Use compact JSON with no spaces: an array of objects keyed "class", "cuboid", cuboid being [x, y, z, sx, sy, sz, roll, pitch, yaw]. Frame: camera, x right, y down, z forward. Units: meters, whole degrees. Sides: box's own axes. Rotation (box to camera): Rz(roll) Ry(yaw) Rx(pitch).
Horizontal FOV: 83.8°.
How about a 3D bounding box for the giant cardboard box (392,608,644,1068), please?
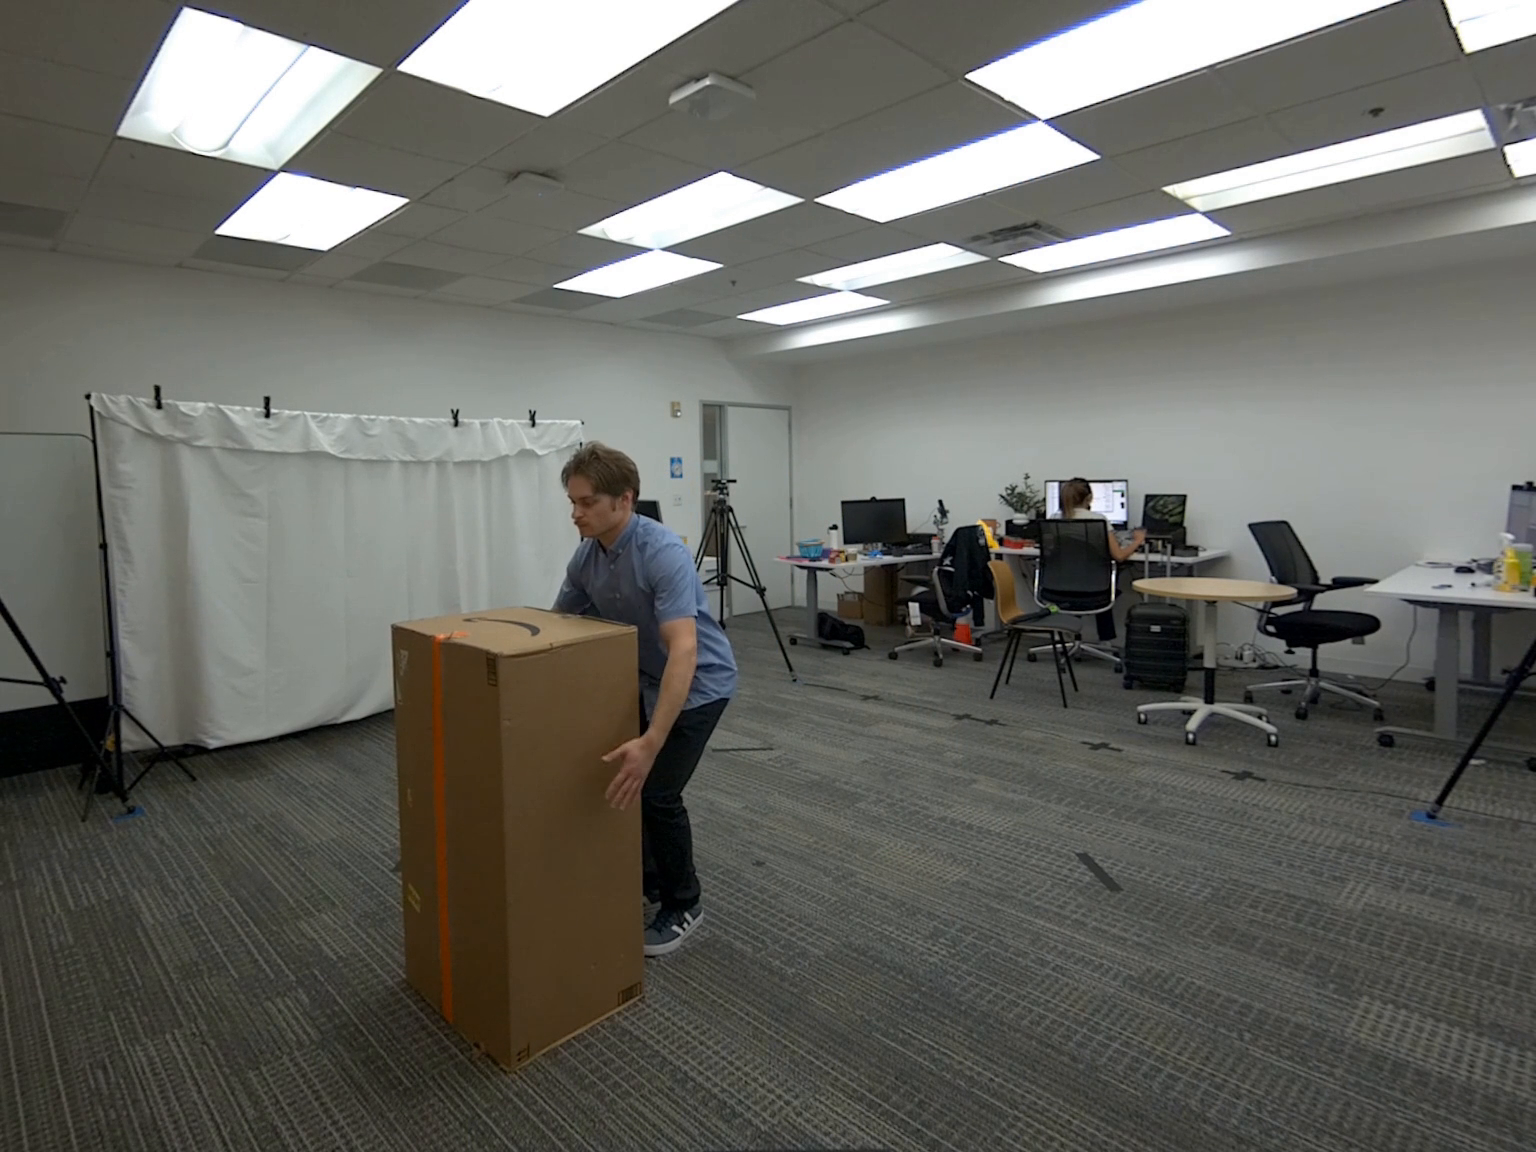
[{"class":"giant cardboard box","cuboid":[-0.687,0.640,2.341,0.595,1.022,0.415,3,6,44]}]
